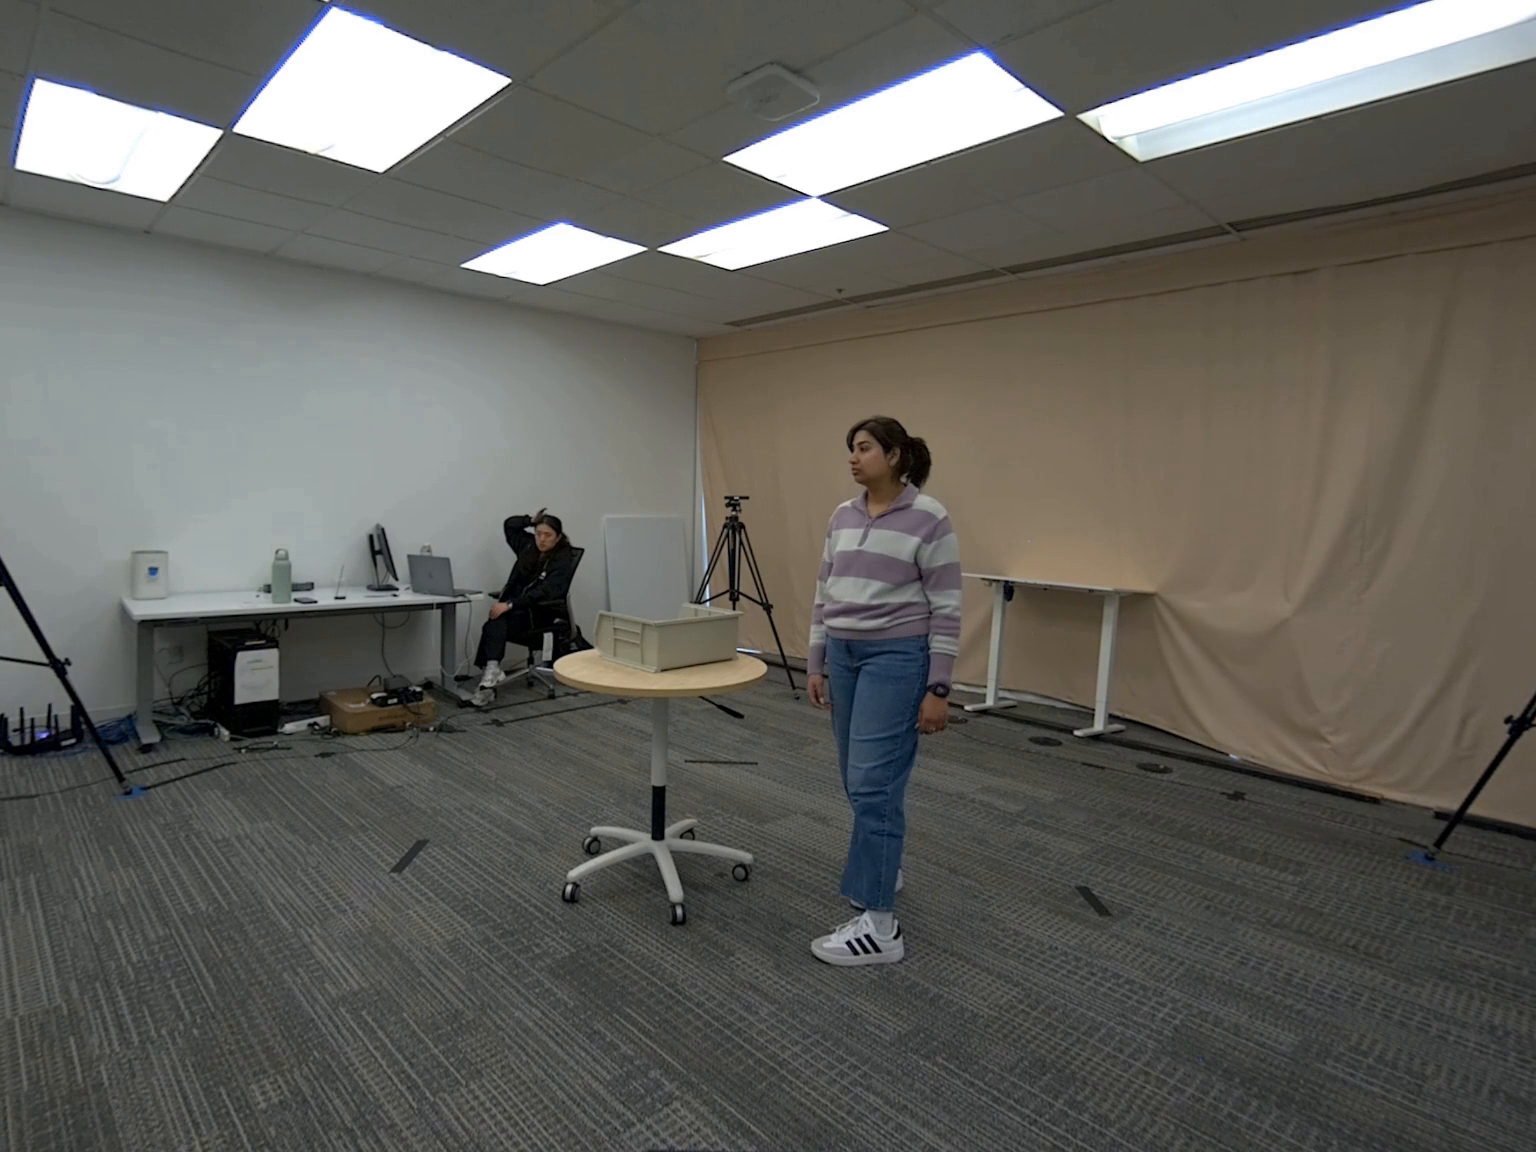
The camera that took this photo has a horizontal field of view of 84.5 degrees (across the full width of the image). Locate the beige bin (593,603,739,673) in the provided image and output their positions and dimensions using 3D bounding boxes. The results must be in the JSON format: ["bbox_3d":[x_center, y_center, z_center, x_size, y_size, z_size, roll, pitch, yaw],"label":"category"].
[{"bbox_3d":[-0.382,0.223,3.147,0.413,0.188,0.387,-3,8,-45],"label":"beige bin"}]
